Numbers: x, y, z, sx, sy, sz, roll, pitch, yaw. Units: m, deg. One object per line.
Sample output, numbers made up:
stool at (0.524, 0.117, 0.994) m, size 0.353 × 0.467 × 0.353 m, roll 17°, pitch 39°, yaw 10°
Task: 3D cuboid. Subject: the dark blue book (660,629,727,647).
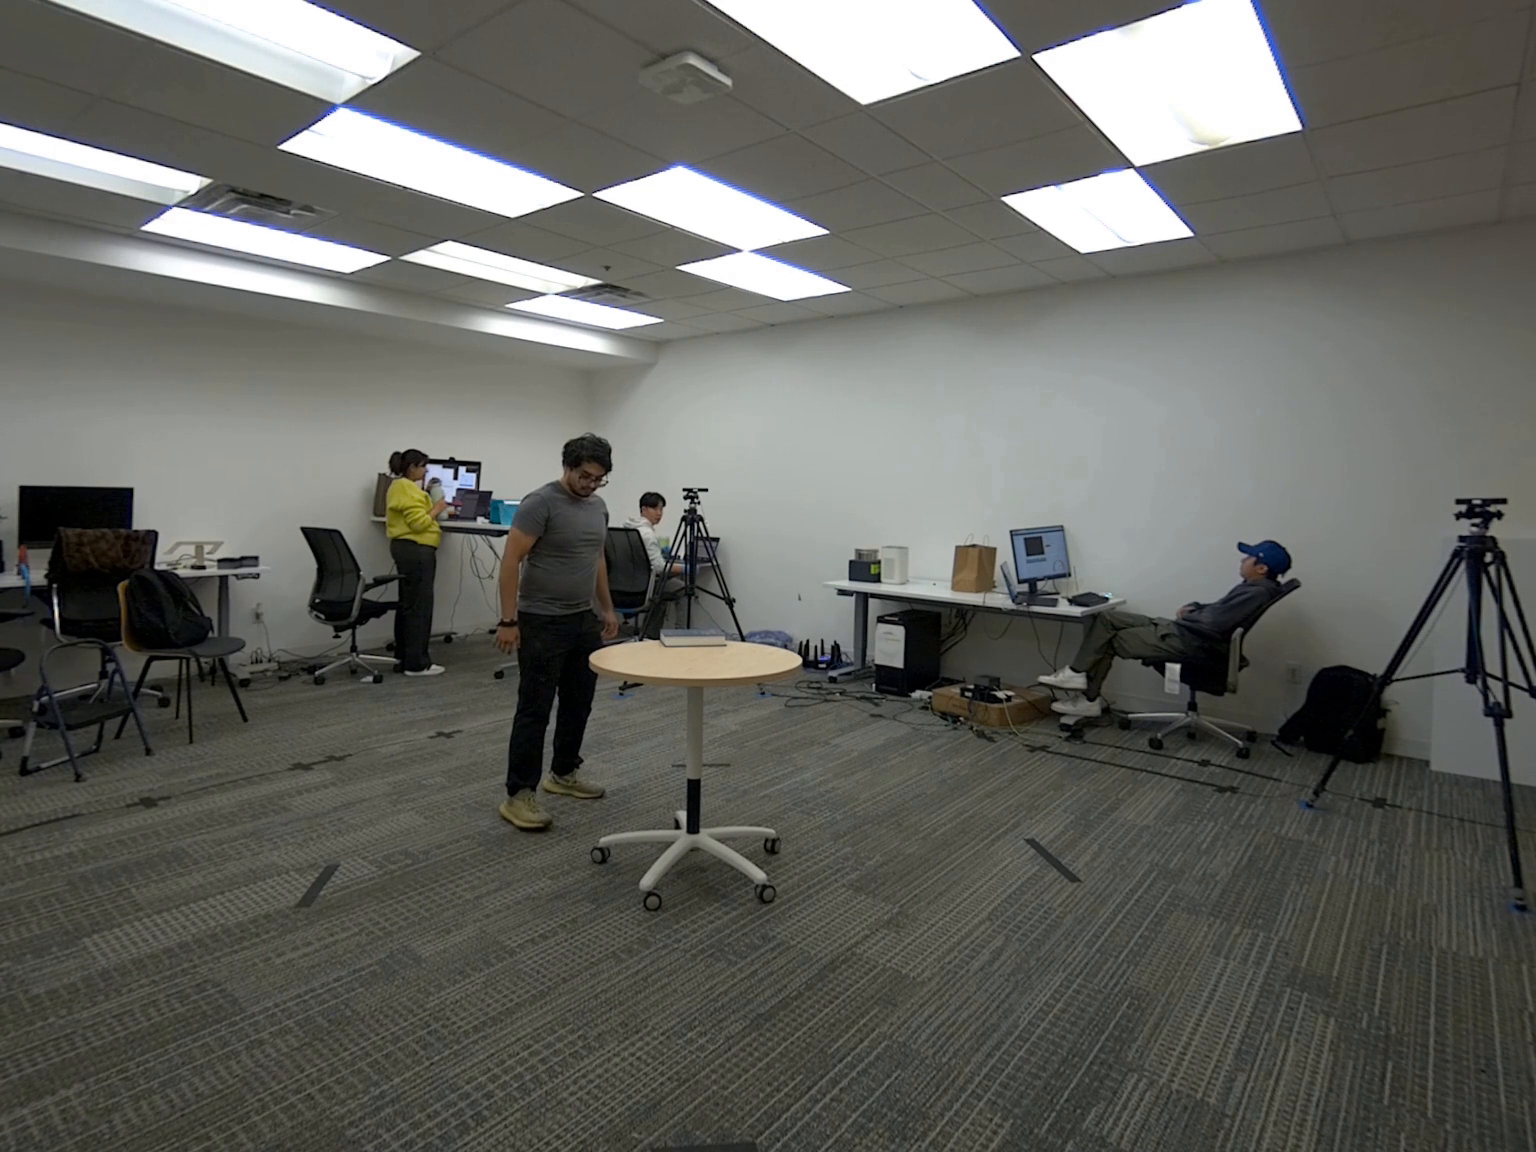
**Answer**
dark blue book at (-0.310, 0.243, 3.380) m, size 0.242 × 0.045 × 0.166 m, roll 0°, pitch 5°, yaw -12°
